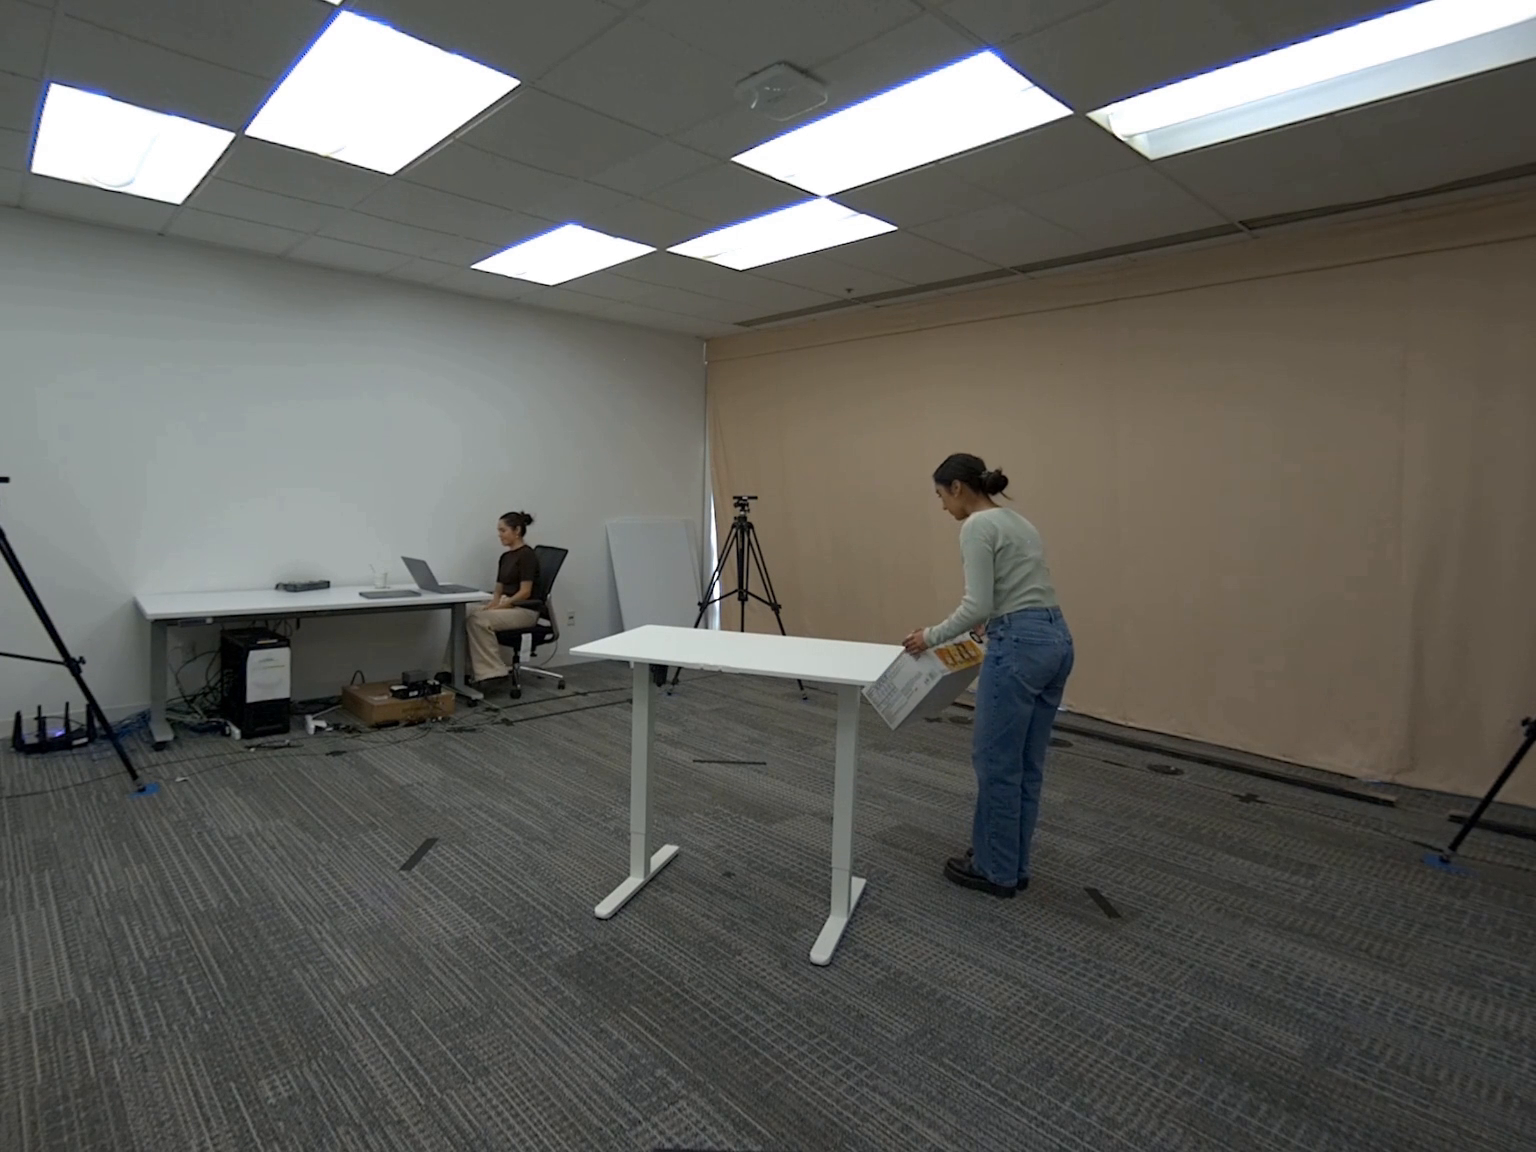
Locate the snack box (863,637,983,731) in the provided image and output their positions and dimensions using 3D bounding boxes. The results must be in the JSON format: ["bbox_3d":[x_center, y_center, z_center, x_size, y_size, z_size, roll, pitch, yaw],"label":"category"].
[{"bbox_3d":[0.637,0.390,3.342,0.397,0.338,0.211,-9,50,-46],"label":"snack box"}]
